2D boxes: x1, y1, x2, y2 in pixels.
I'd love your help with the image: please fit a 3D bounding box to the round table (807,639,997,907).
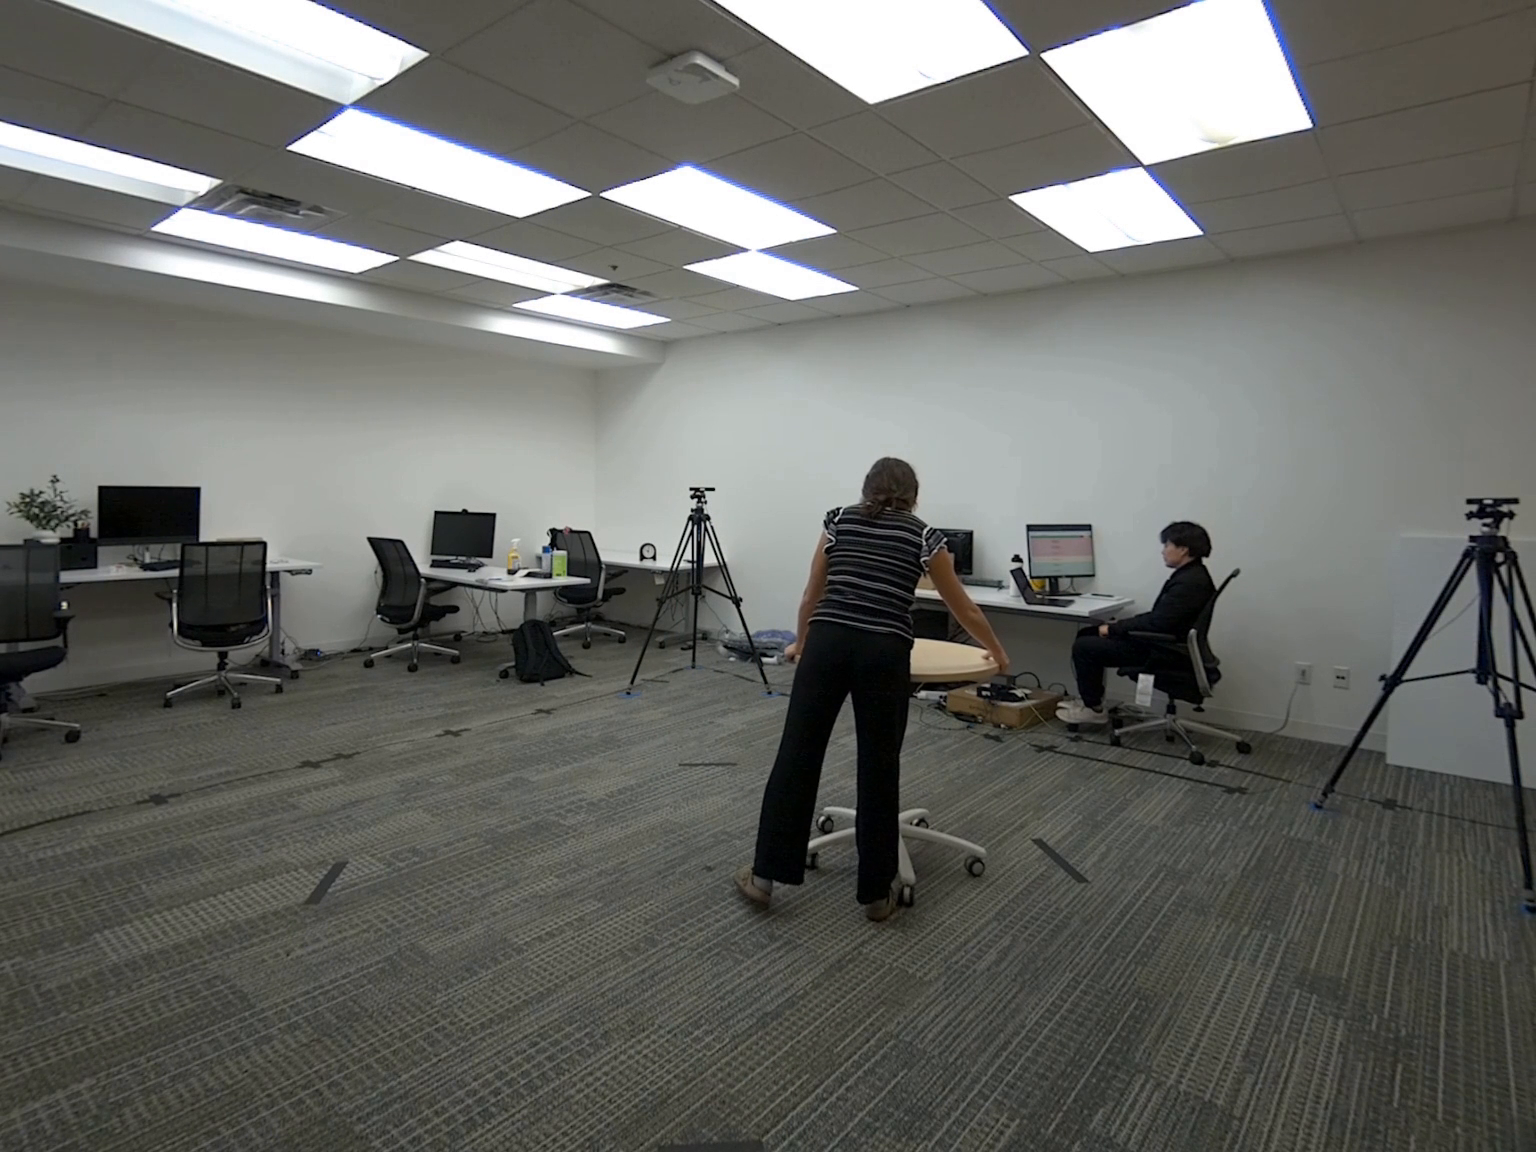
[{"bbox_3d":[0.459,0.680,3.217,0.763,0.791,0.768,1,4,-2],"label":"round table"}]
